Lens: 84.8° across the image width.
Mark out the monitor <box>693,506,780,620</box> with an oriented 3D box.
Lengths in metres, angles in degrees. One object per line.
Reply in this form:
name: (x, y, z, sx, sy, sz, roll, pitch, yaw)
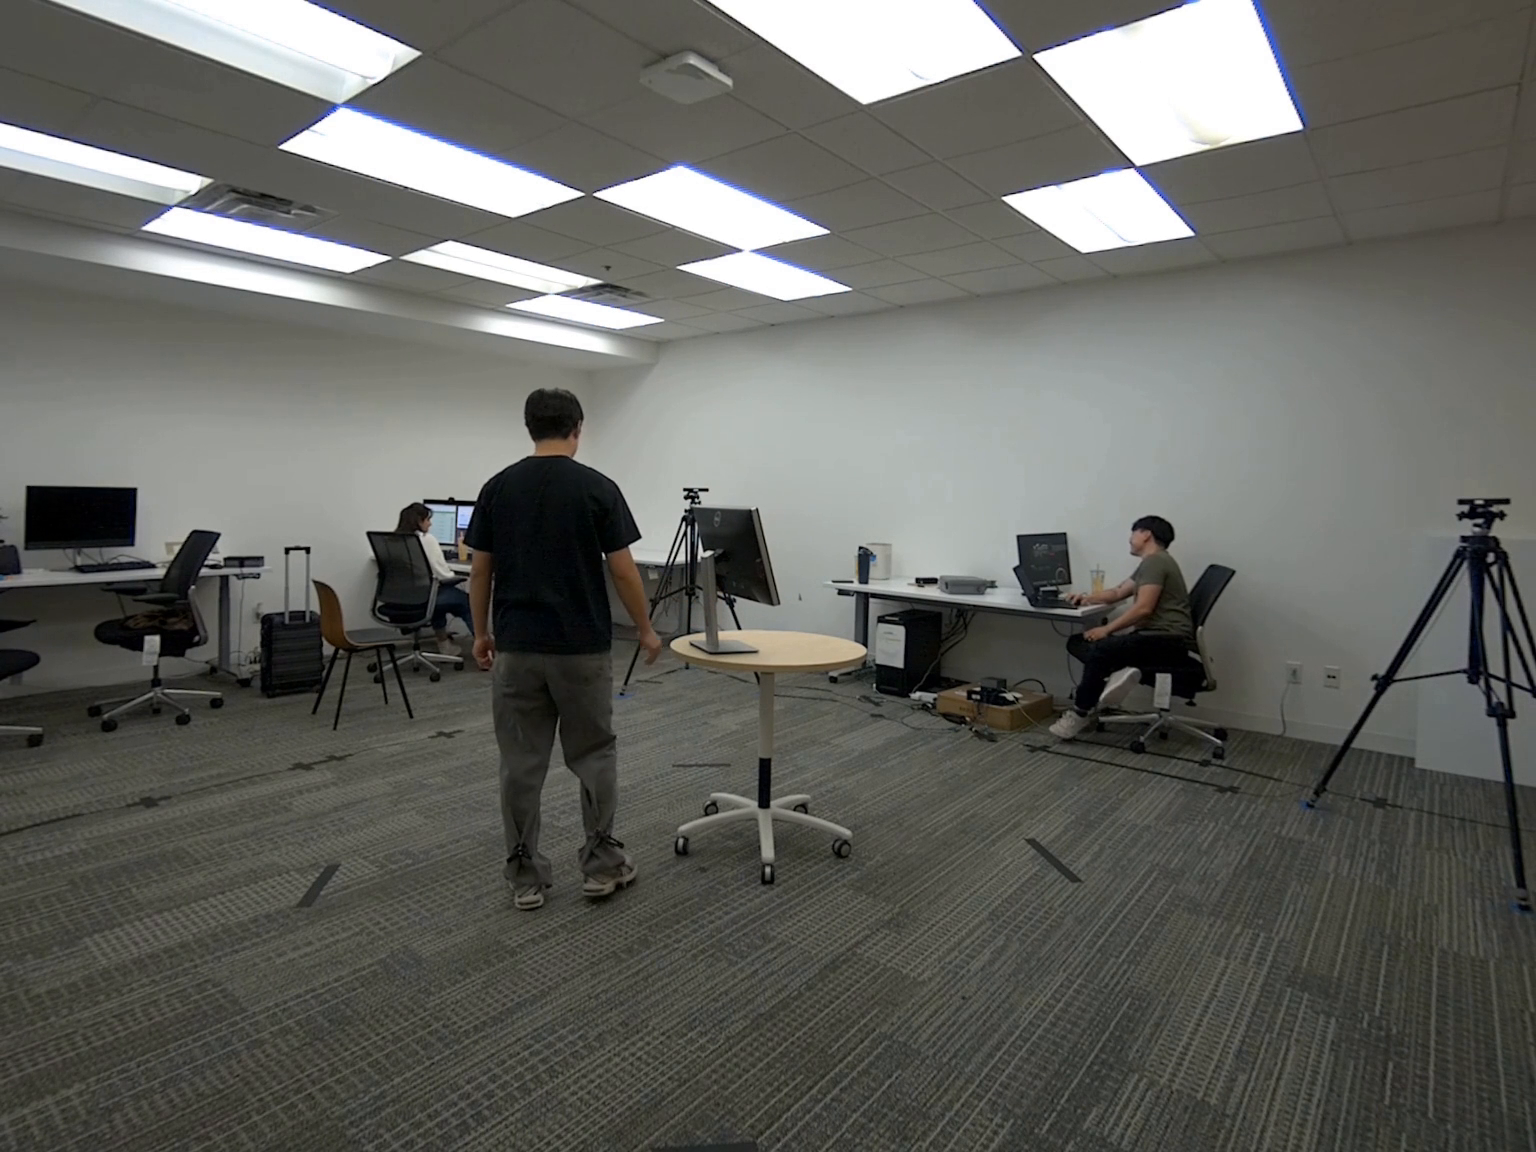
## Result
monitor: (-0.170, 0.013, 3.244, 0.217, 0.564, 0.576, 1, 4, -24)
